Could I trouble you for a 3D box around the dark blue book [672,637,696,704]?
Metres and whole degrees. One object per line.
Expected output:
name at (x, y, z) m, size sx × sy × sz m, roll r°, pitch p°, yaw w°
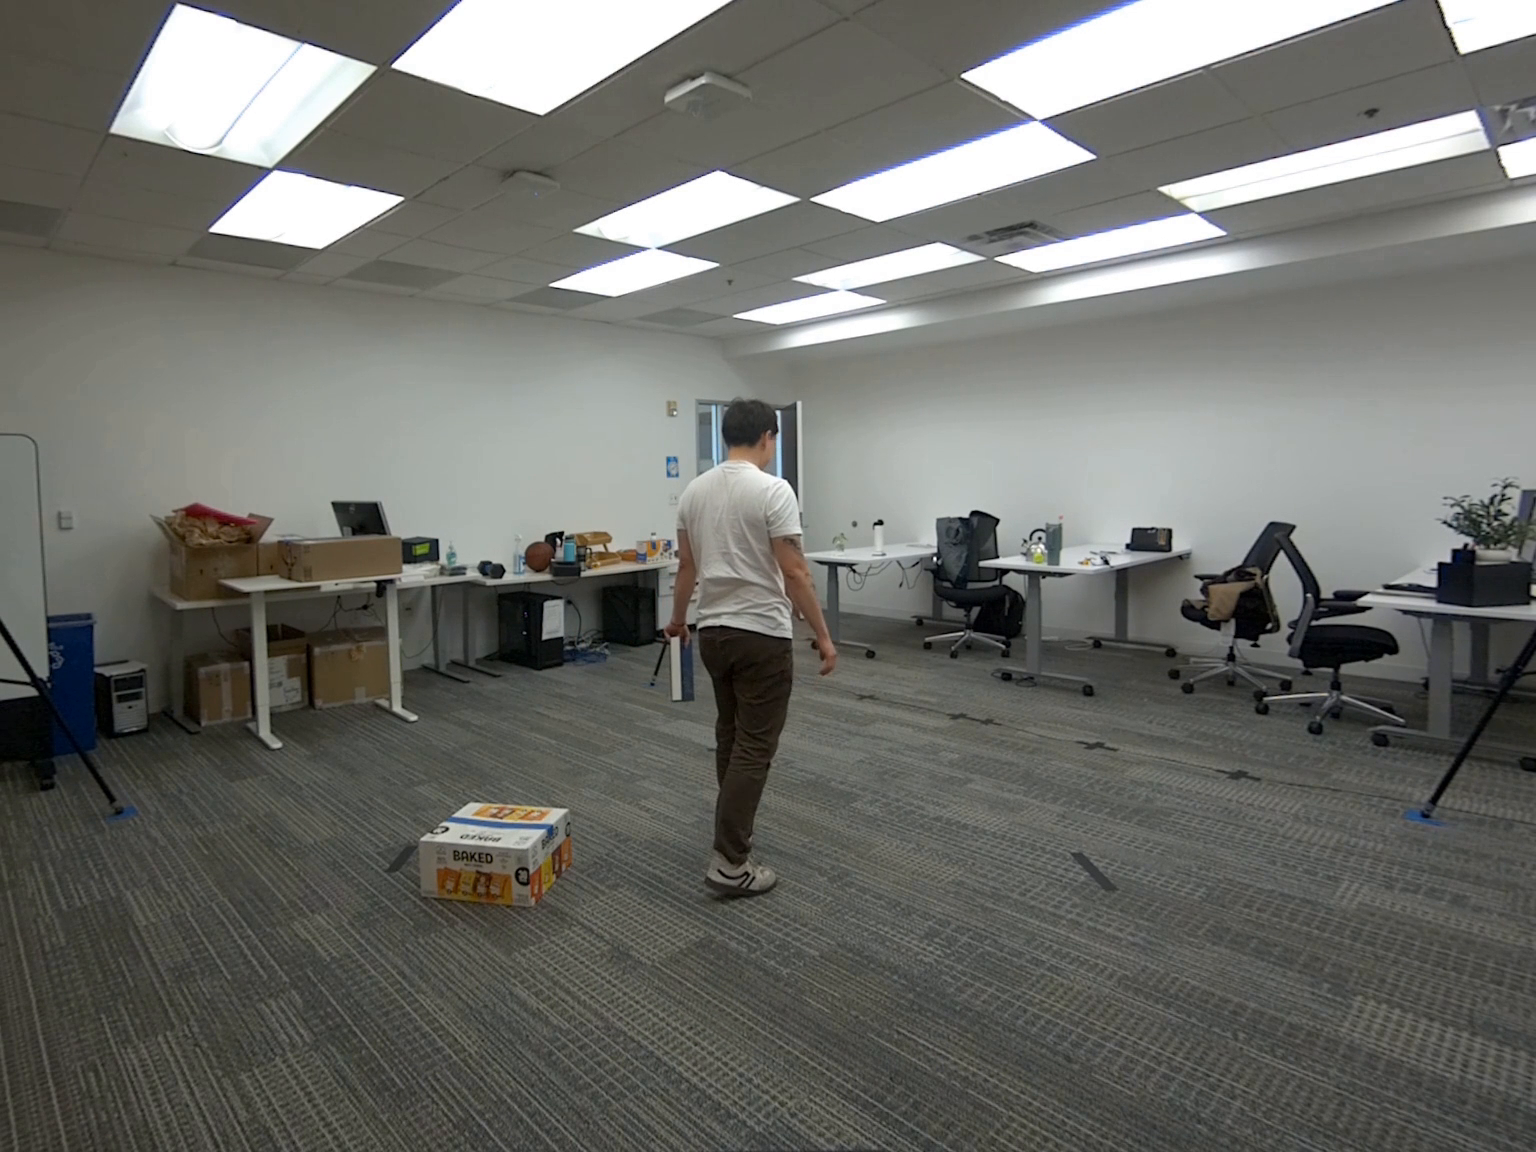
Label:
dark blue book at (-0.323, 0.363, 3.300) m, size 0.045 × 0.247 × 0.160 m, roll -2°, pitch -10°, yaw 9°
